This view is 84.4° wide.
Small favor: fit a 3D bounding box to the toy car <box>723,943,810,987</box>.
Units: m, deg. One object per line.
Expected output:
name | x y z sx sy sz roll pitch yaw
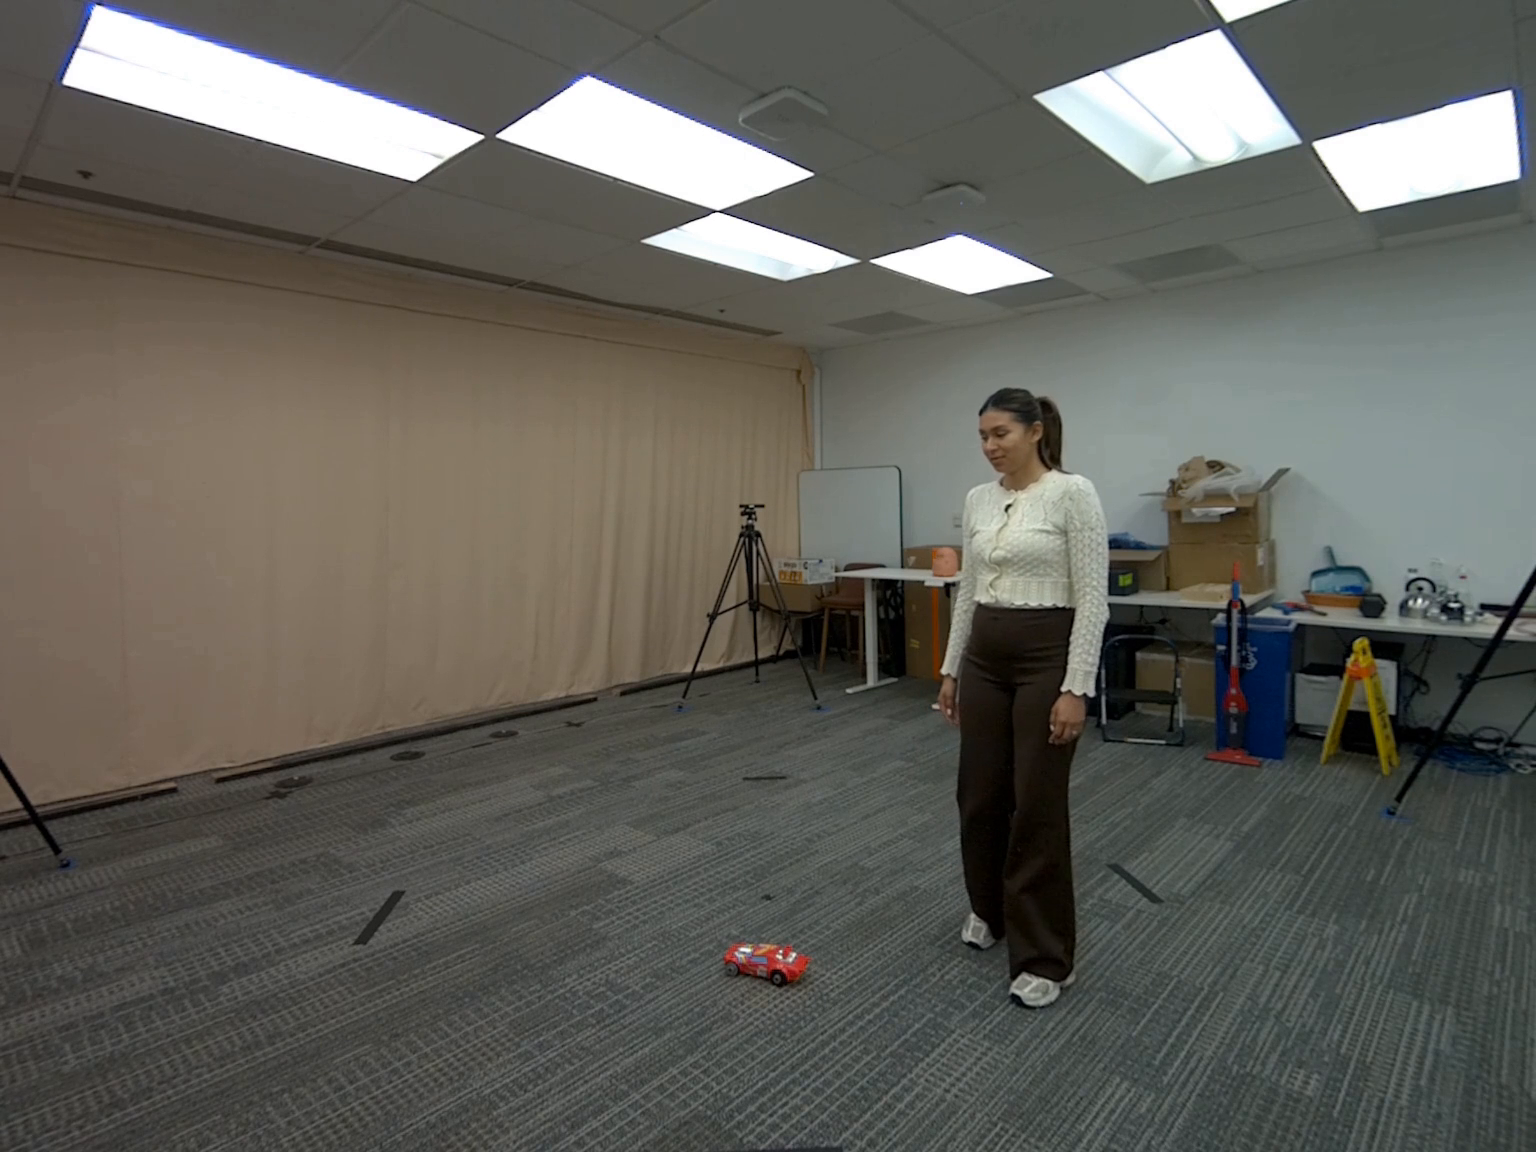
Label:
toy car | 0.005 1.154 2.498 0.260 0.083 0.127 -11 0 23
